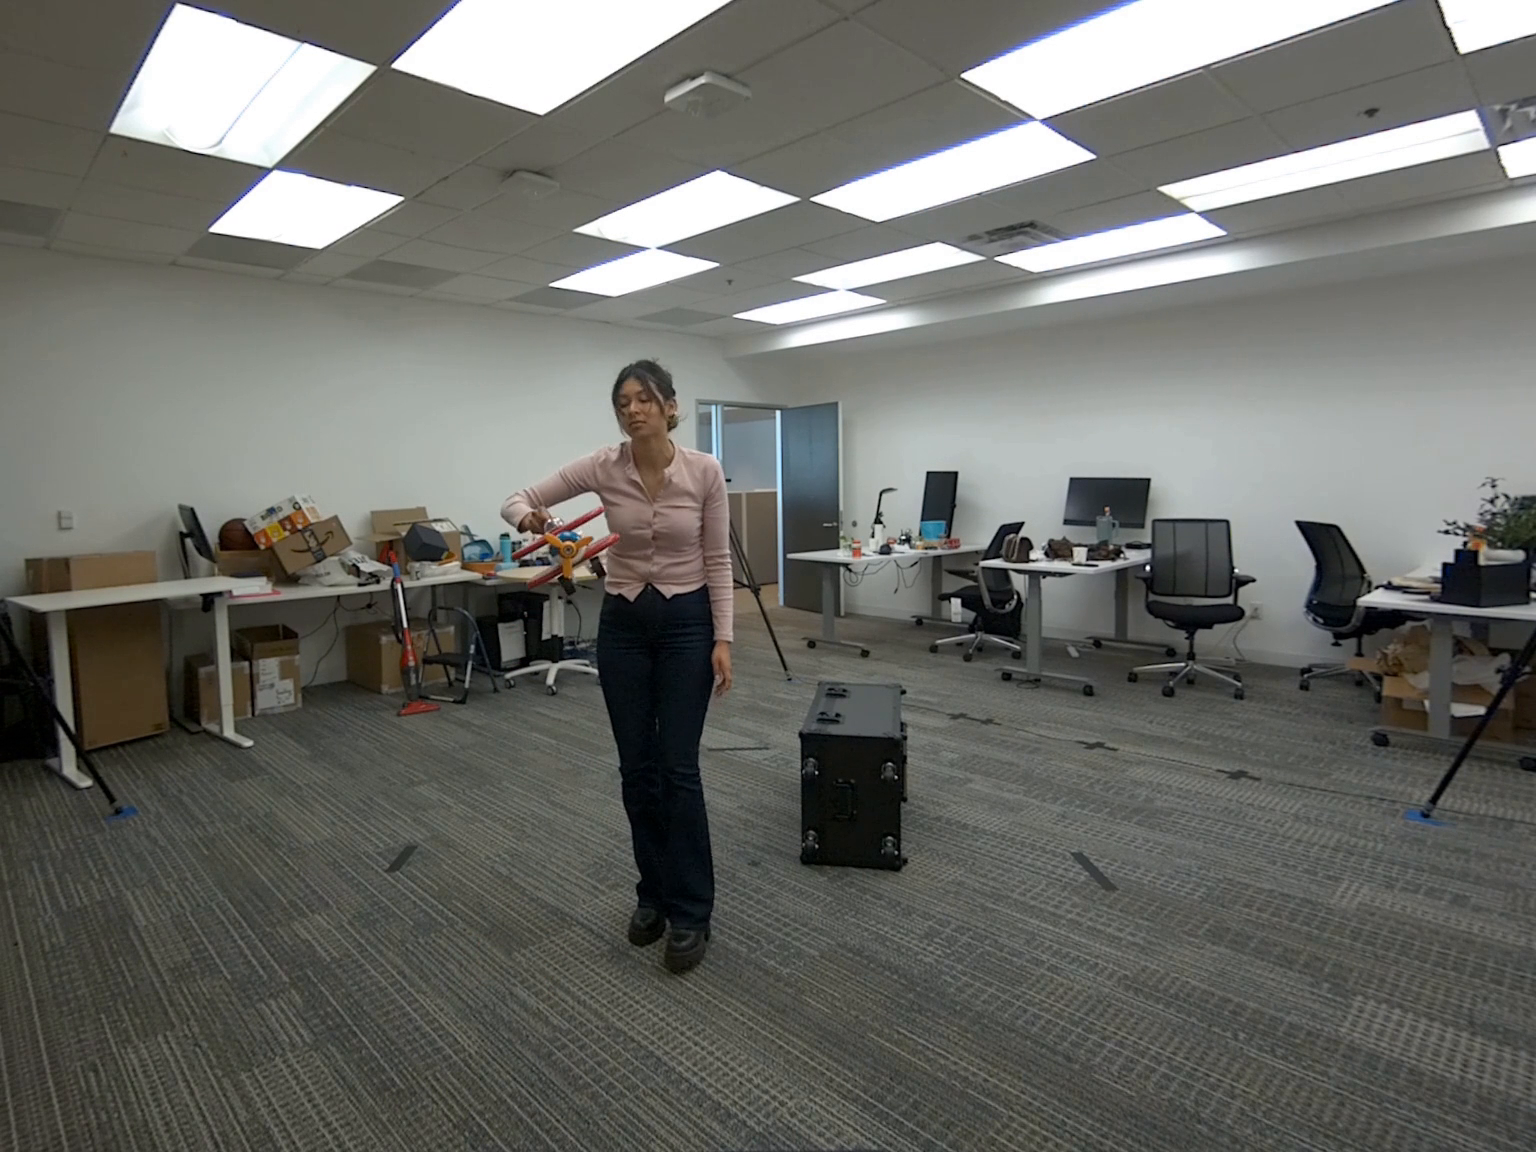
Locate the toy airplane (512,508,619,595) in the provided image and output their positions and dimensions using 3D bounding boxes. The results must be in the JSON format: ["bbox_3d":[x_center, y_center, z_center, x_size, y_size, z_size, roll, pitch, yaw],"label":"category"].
[{"bbox_3d":[-0.519,-0.047,2.150,0.267,0.152,0.251,5,41,45],"label":"toy airplane"}]
